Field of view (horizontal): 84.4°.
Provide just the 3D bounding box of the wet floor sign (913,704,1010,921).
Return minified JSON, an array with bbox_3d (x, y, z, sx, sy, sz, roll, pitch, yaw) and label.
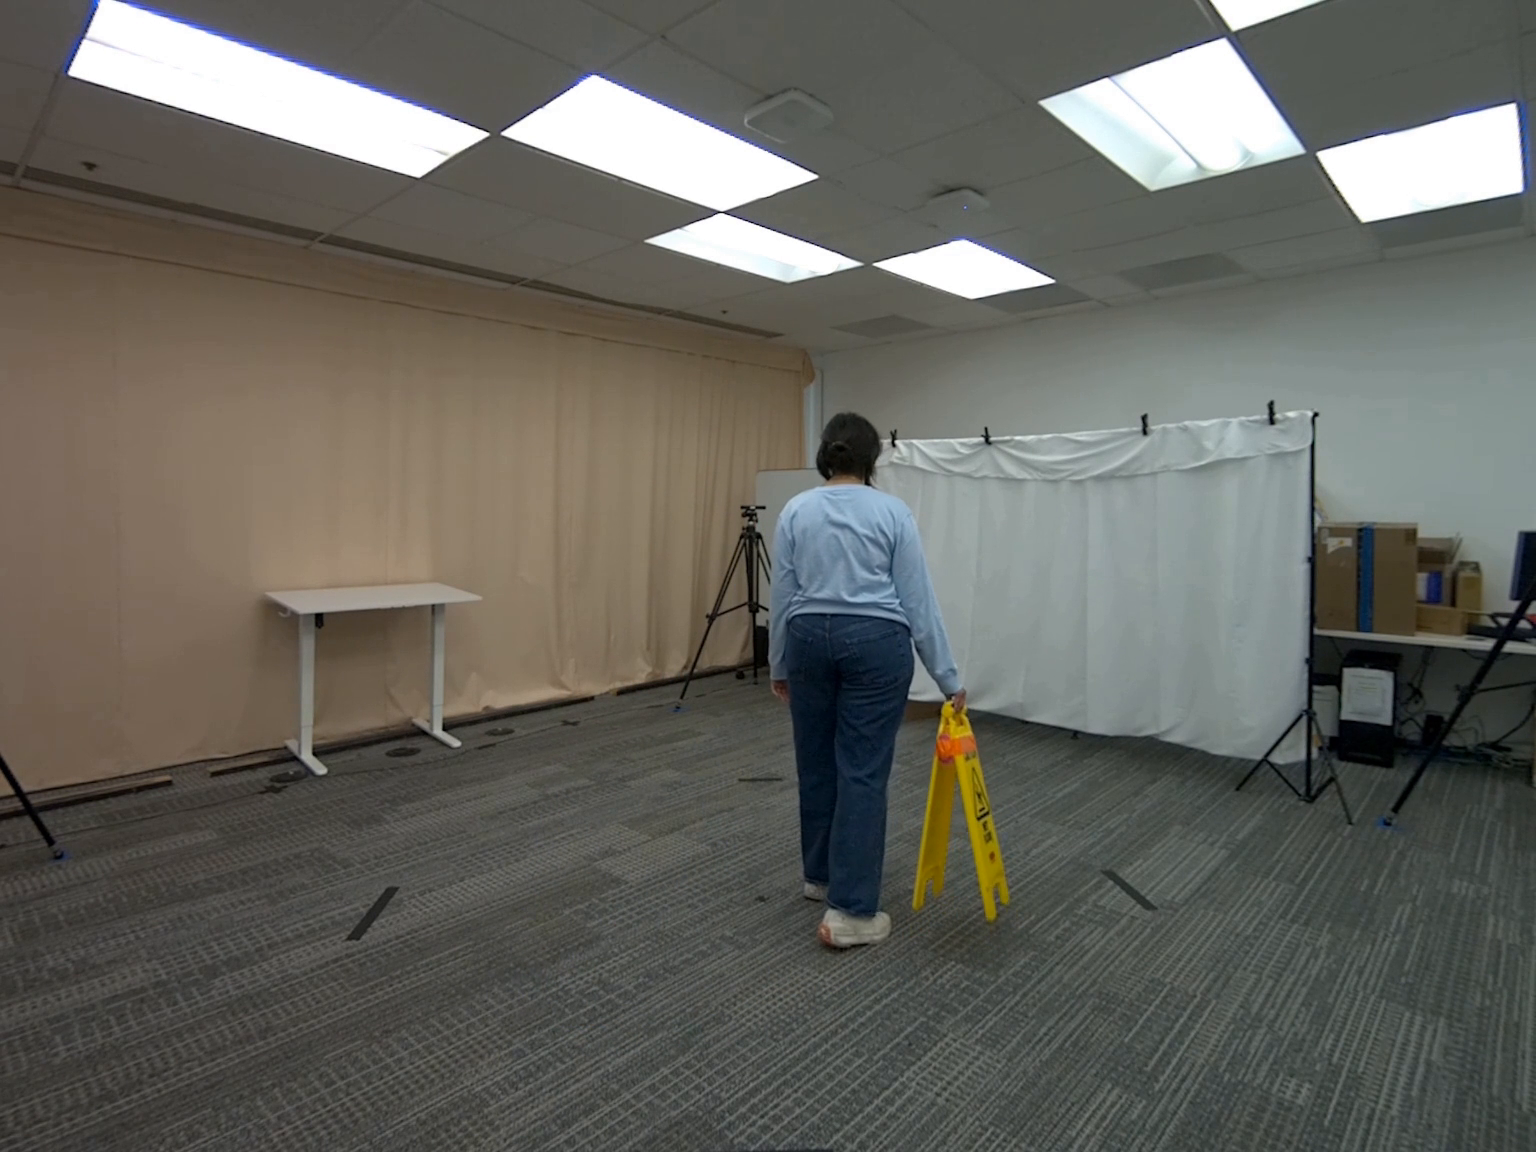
[{"bbox_3d":[0.633,0.745,2.760,0.297,0.648,0.274,-4,-6,29],"label":"wet floor sign"}]
